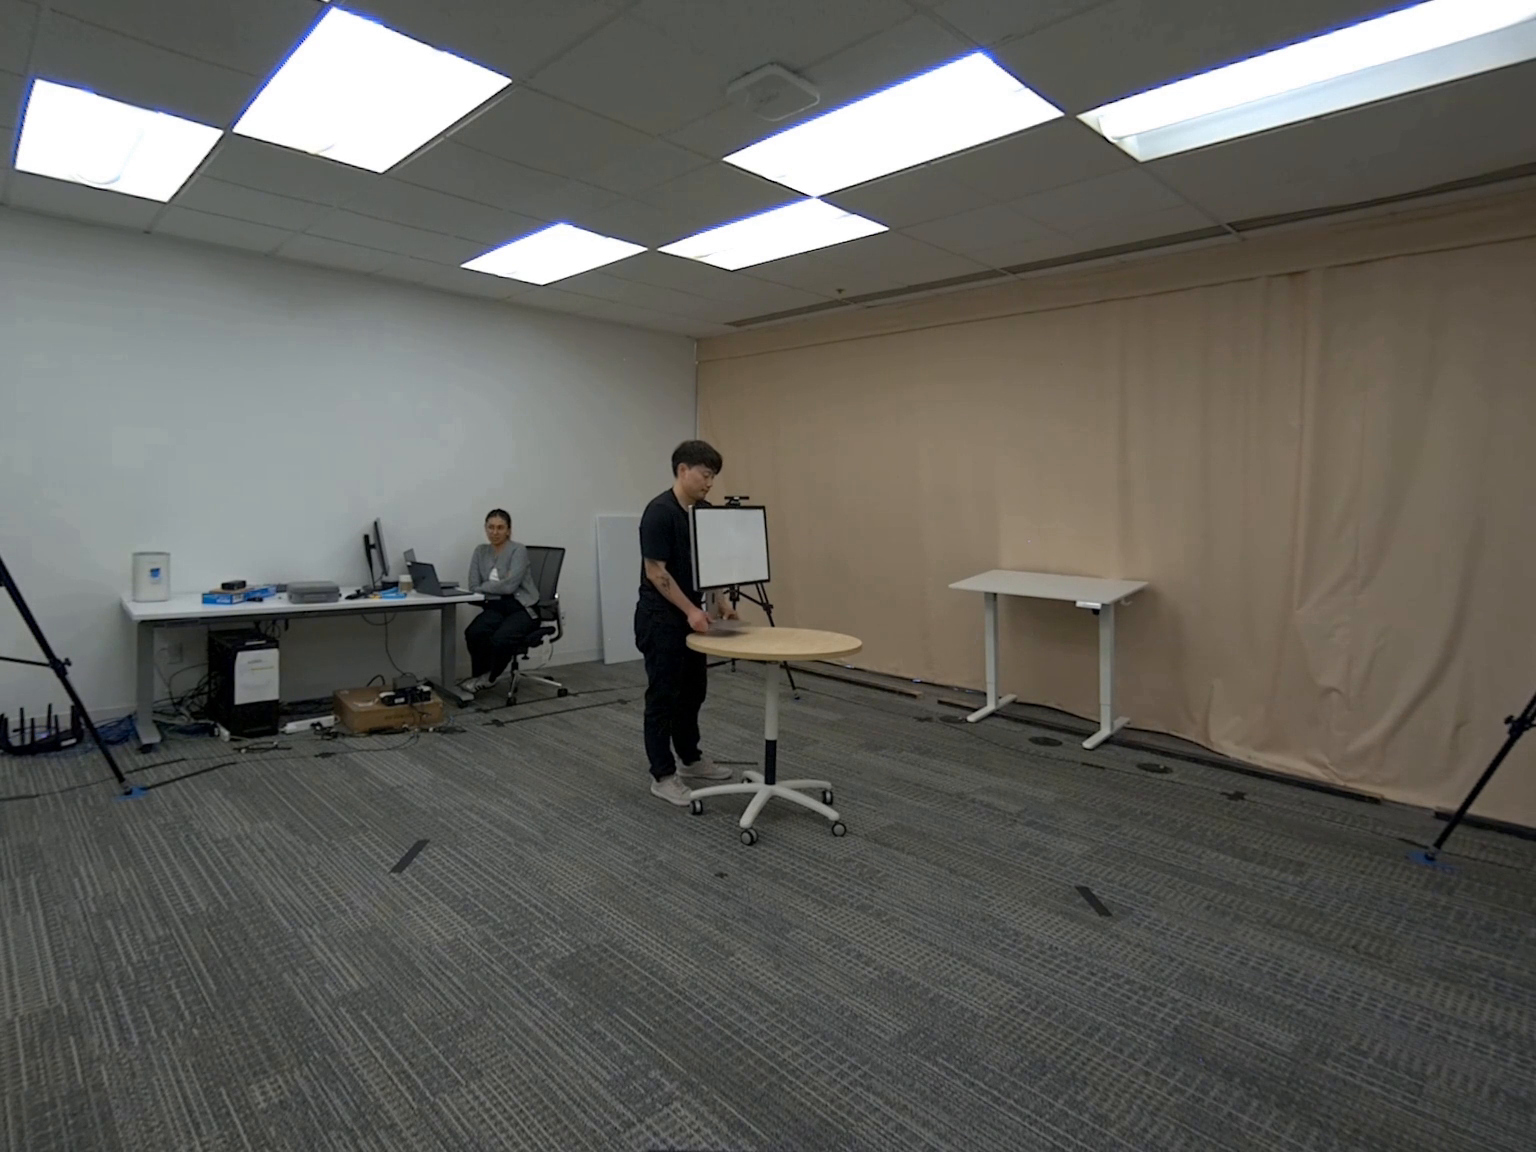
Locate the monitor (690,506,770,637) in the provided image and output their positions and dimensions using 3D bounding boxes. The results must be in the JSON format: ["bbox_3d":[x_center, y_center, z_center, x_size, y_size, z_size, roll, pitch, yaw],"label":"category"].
[{"bbox_3d":[-0.205,-0.049,3.786,0.192,0.520,0.528,11,8,33],"label":"monitor"}]
